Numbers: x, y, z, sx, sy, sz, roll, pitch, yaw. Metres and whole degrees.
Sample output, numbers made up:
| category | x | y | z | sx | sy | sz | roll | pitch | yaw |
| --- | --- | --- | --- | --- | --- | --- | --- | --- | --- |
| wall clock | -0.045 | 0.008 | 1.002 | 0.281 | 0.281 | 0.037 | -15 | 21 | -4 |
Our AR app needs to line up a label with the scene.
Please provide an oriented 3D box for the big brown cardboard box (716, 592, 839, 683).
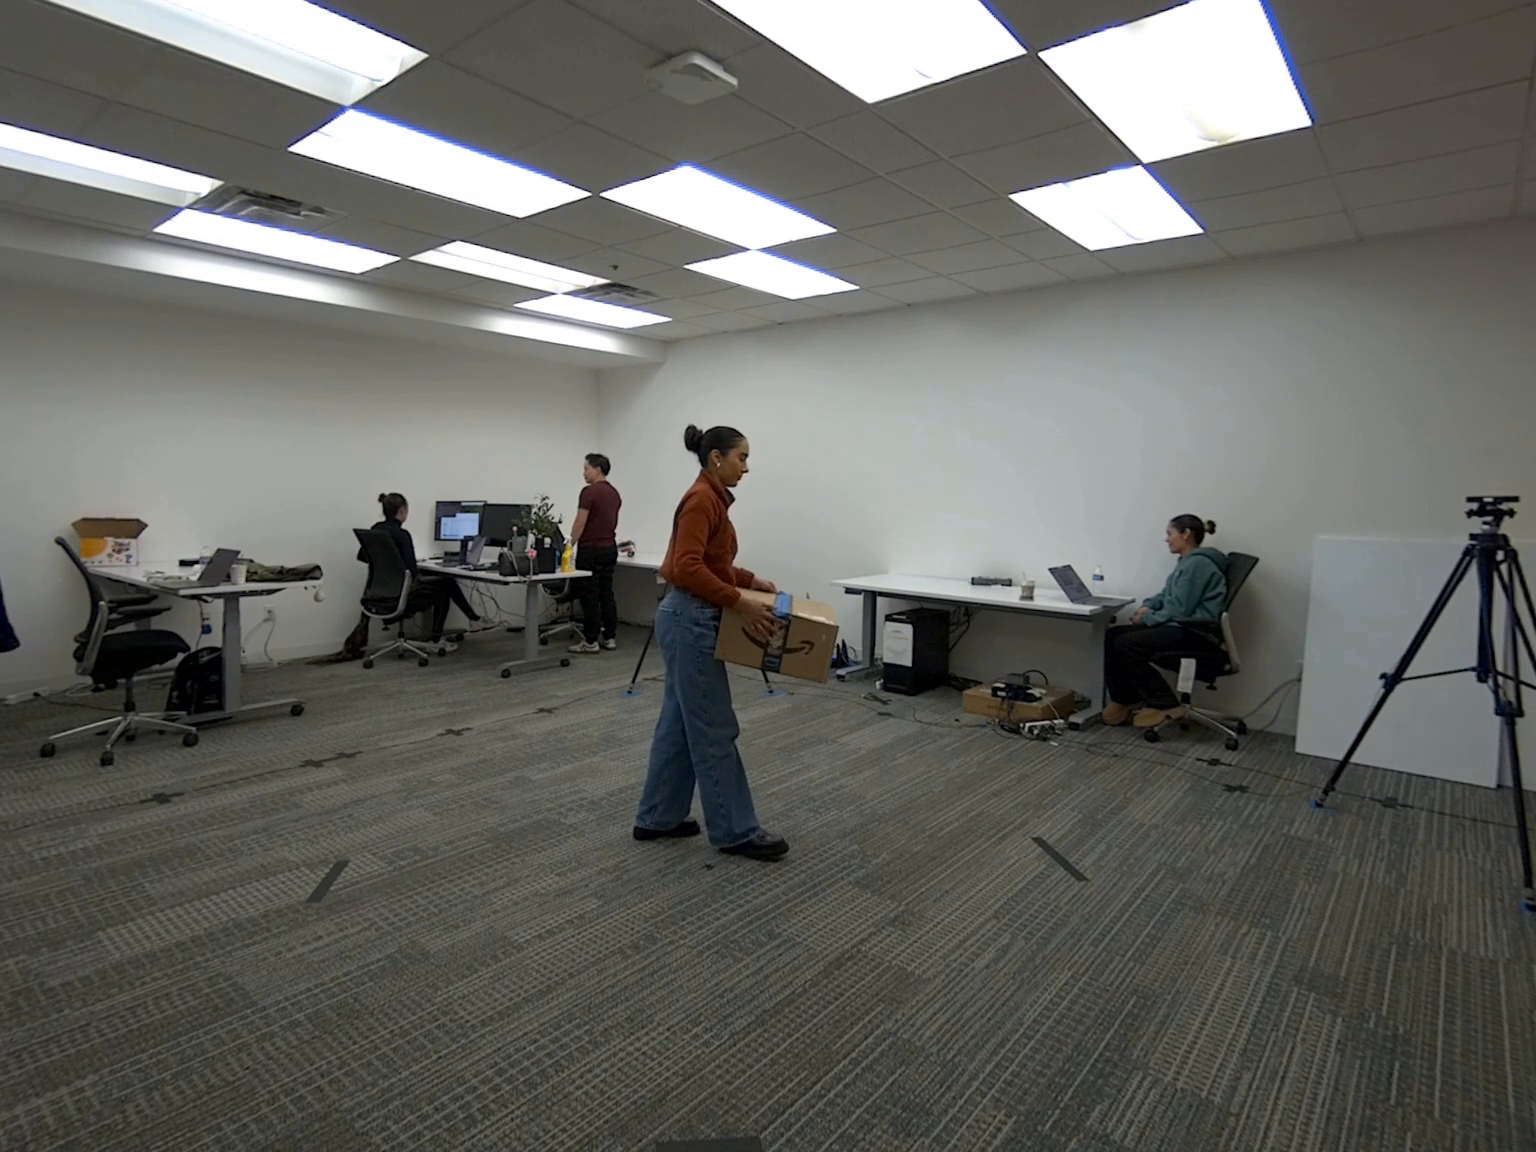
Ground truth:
| category | x | y | z | sx | sy | sz | roll | pitch | yaw |
| --- | --- | --- | --- | --- | --- | --- | --- | --- | --- |
| big brown cardboard box | 0.036 | 0.209 | 3.313 | 0.419 | 0.232 | 0.589 | 11 | 4 | 1 |
